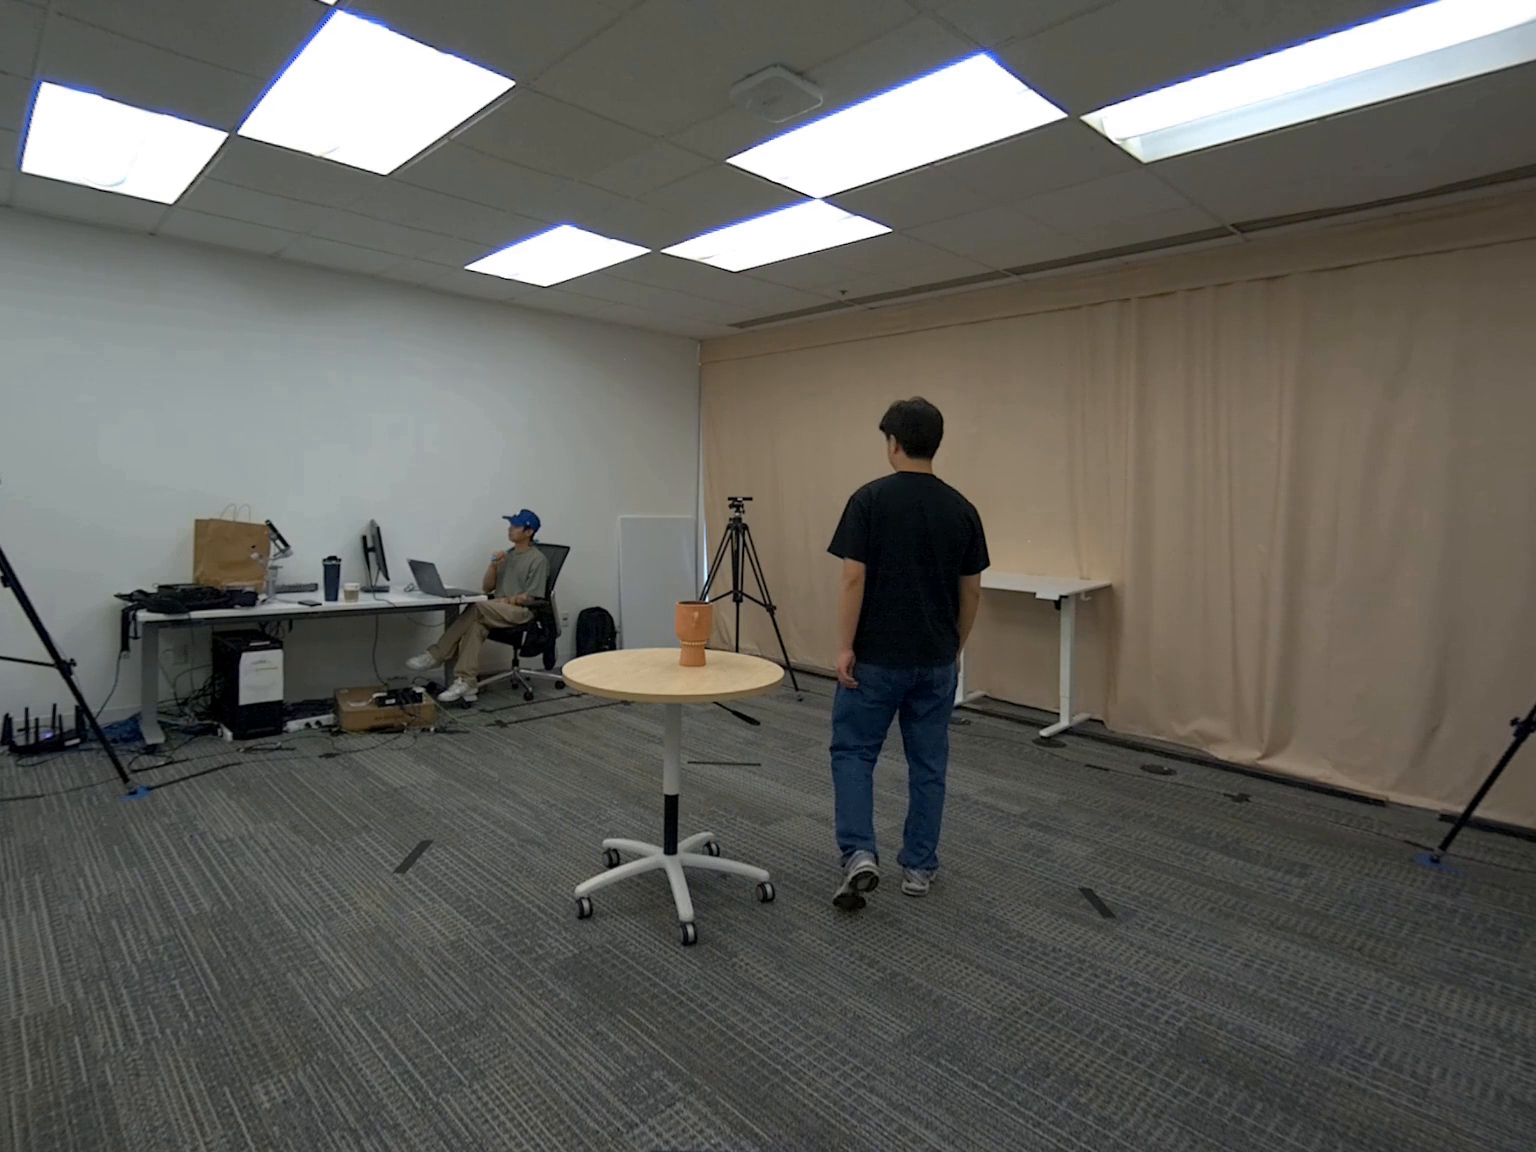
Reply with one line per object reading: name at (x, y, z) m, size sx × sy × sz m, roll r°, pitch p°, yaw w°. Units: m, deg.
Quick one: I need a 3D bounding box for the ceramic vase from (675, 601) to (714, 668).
ceramic vase at (-0.265, 0.207, 3.001) m, size 0.137 × 0.219 × 0.156 m, roll 4°, pitch 4°, yaw 29°
